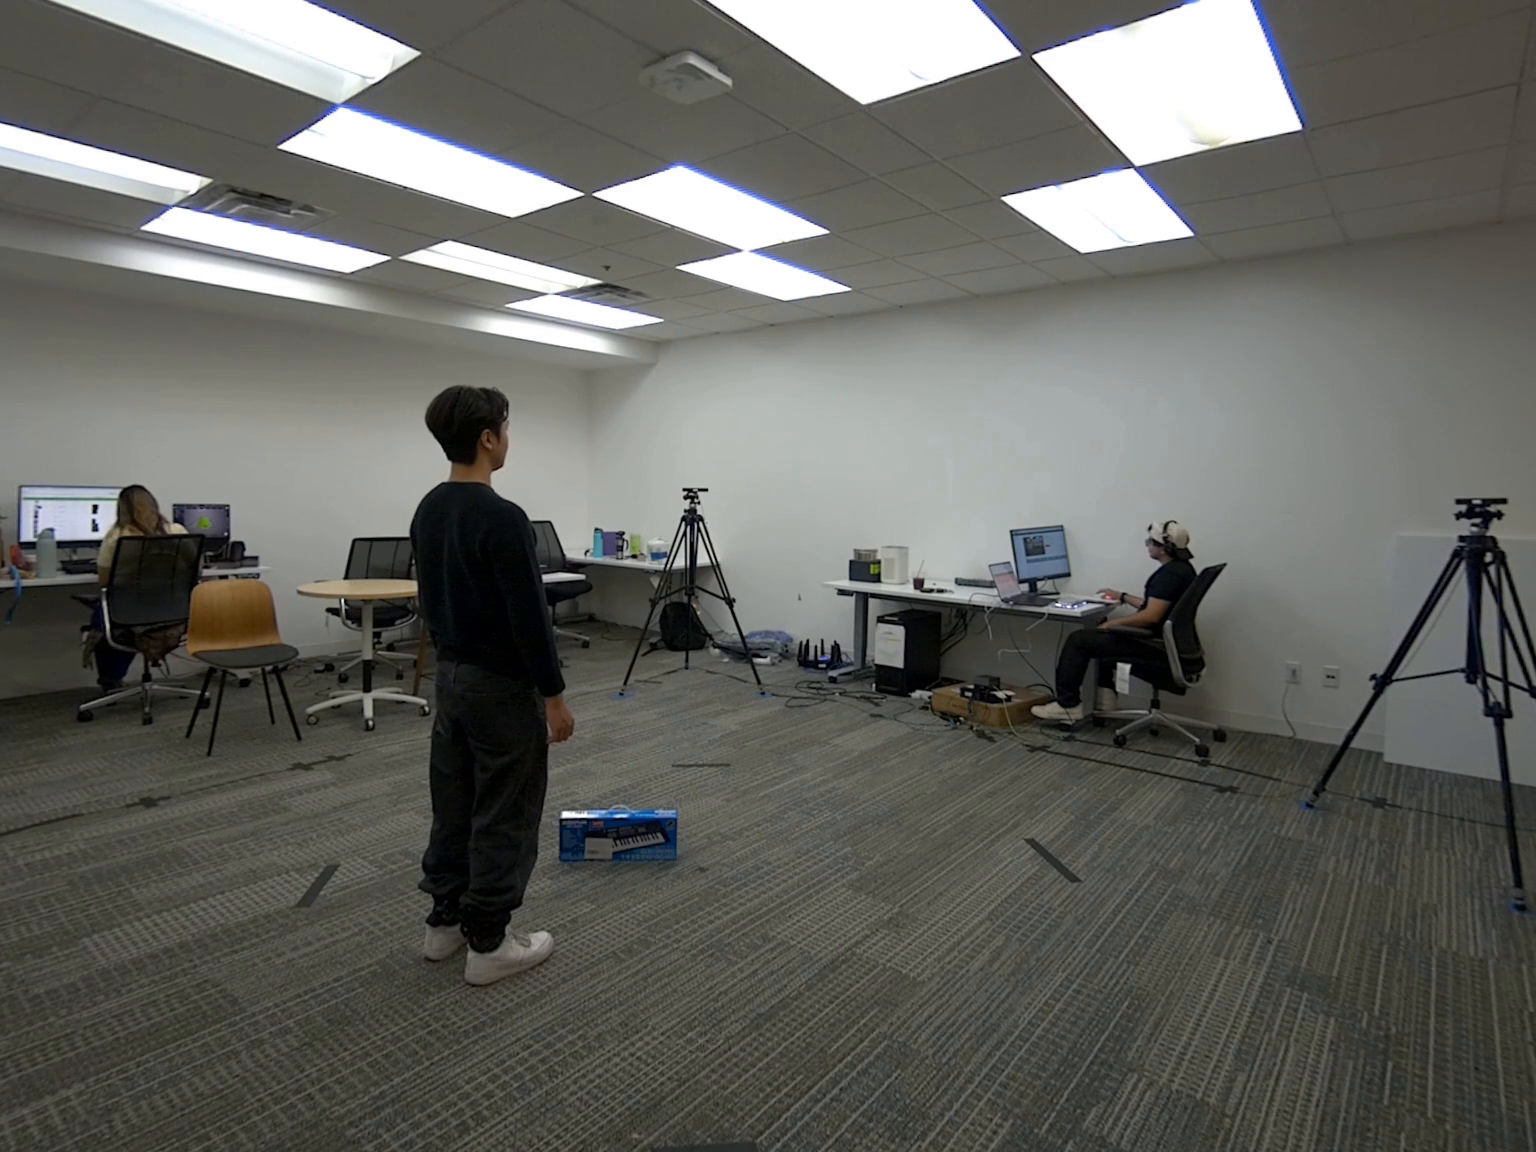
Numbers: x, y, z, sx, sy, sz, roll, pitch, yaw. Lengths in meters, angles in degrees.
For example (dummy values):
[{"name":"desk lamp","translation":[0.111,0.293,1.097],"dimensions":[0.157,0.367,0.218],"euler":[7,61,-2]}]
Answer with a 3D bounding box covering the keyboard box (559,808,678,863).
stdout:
[{"name":"keyboard box","translation":[-0.570,0.968,3.182],"dimensions":[0.435,0.174,0.060],"euler":[1,9,-4]}]
